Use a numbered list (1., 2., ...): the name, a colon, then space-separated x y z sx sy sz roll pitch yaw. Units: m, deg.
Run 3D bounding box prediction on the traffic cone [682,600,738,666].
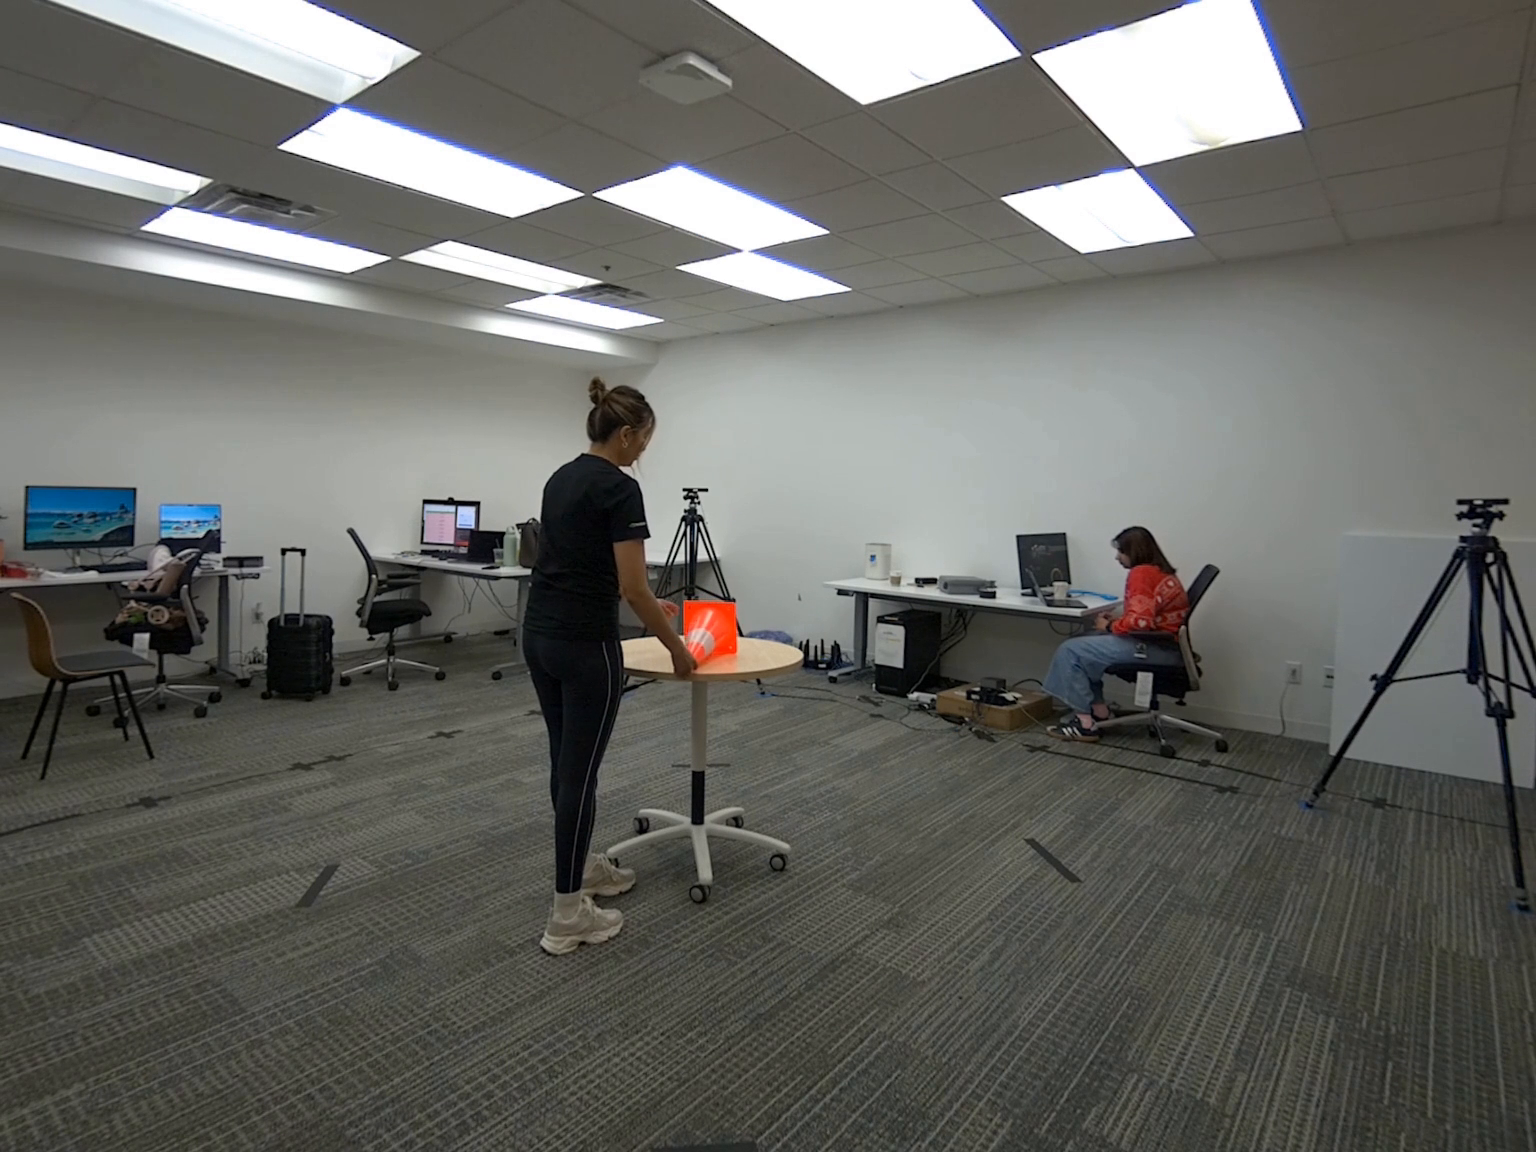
1. traffic cone: -0.247 0.244 2.950 0.205 0.202 0.386 1 17 7
